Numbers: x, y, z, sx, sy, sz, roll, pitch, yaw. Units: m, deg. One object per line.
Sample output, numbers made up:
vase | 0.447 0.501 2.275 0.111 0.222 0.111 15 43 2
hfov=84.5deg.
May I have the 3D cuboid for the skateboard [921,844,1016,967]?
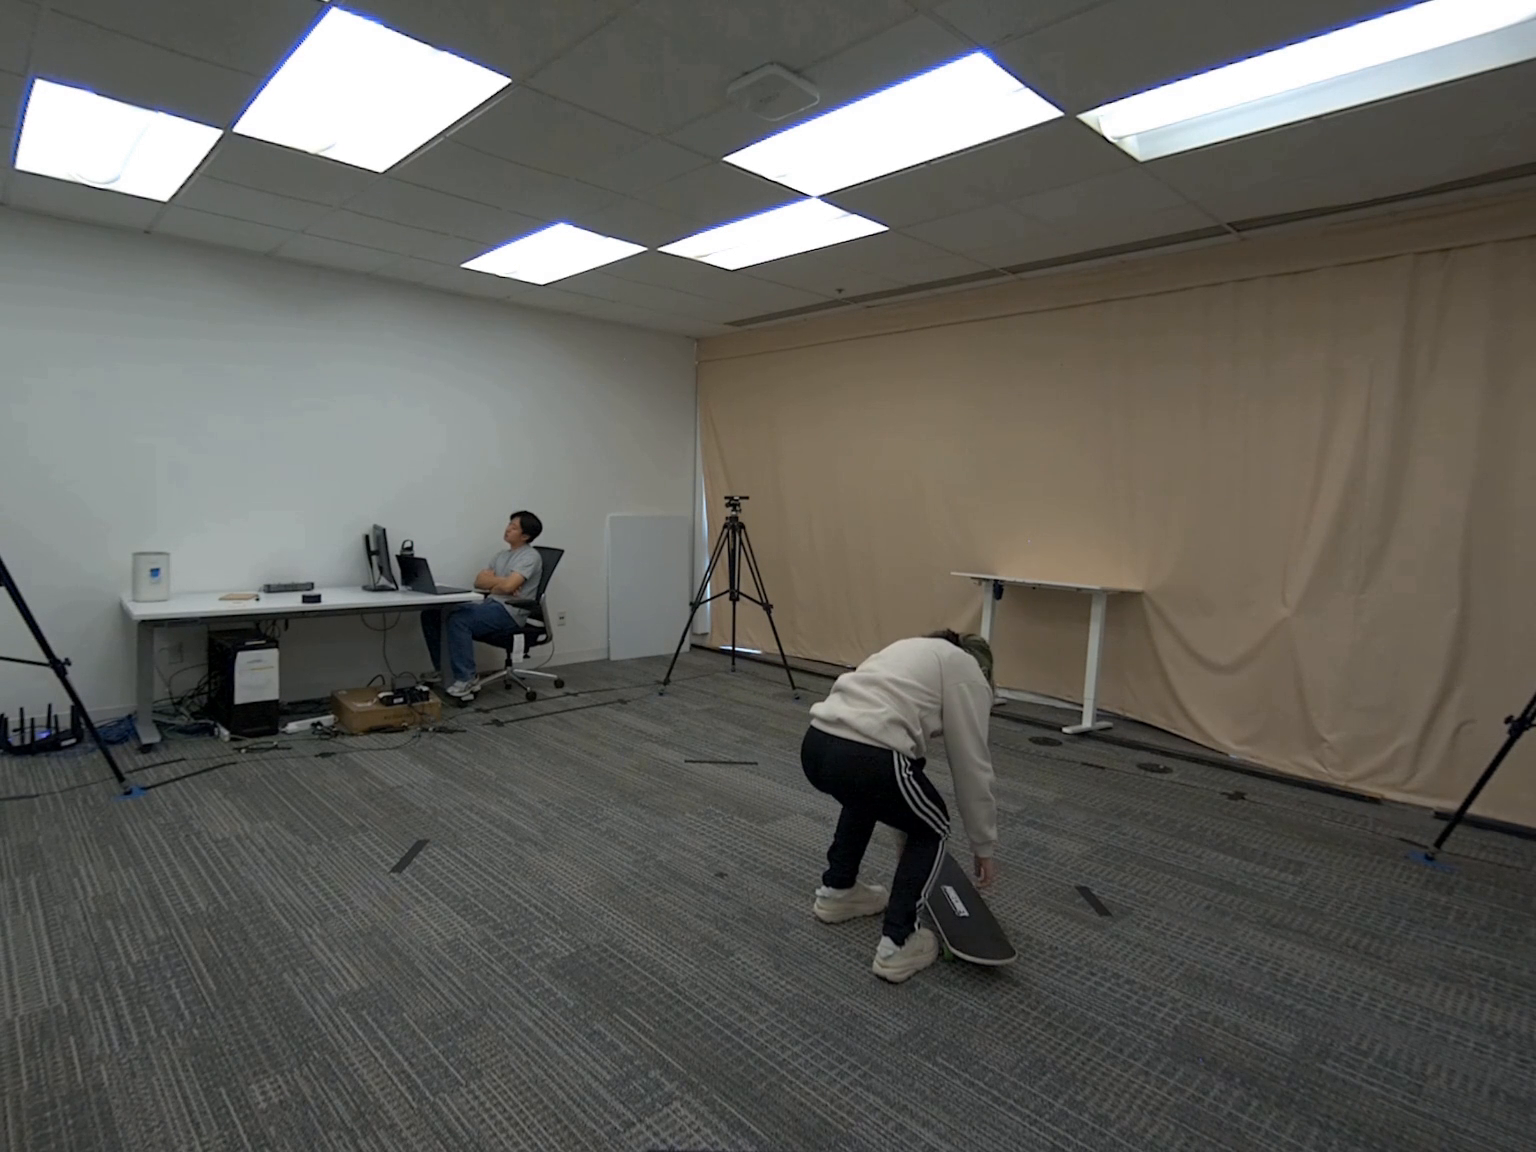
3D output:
skateboard | 0.604 1.094 2.772 0.193 0.110 0.789 2 5 -3
